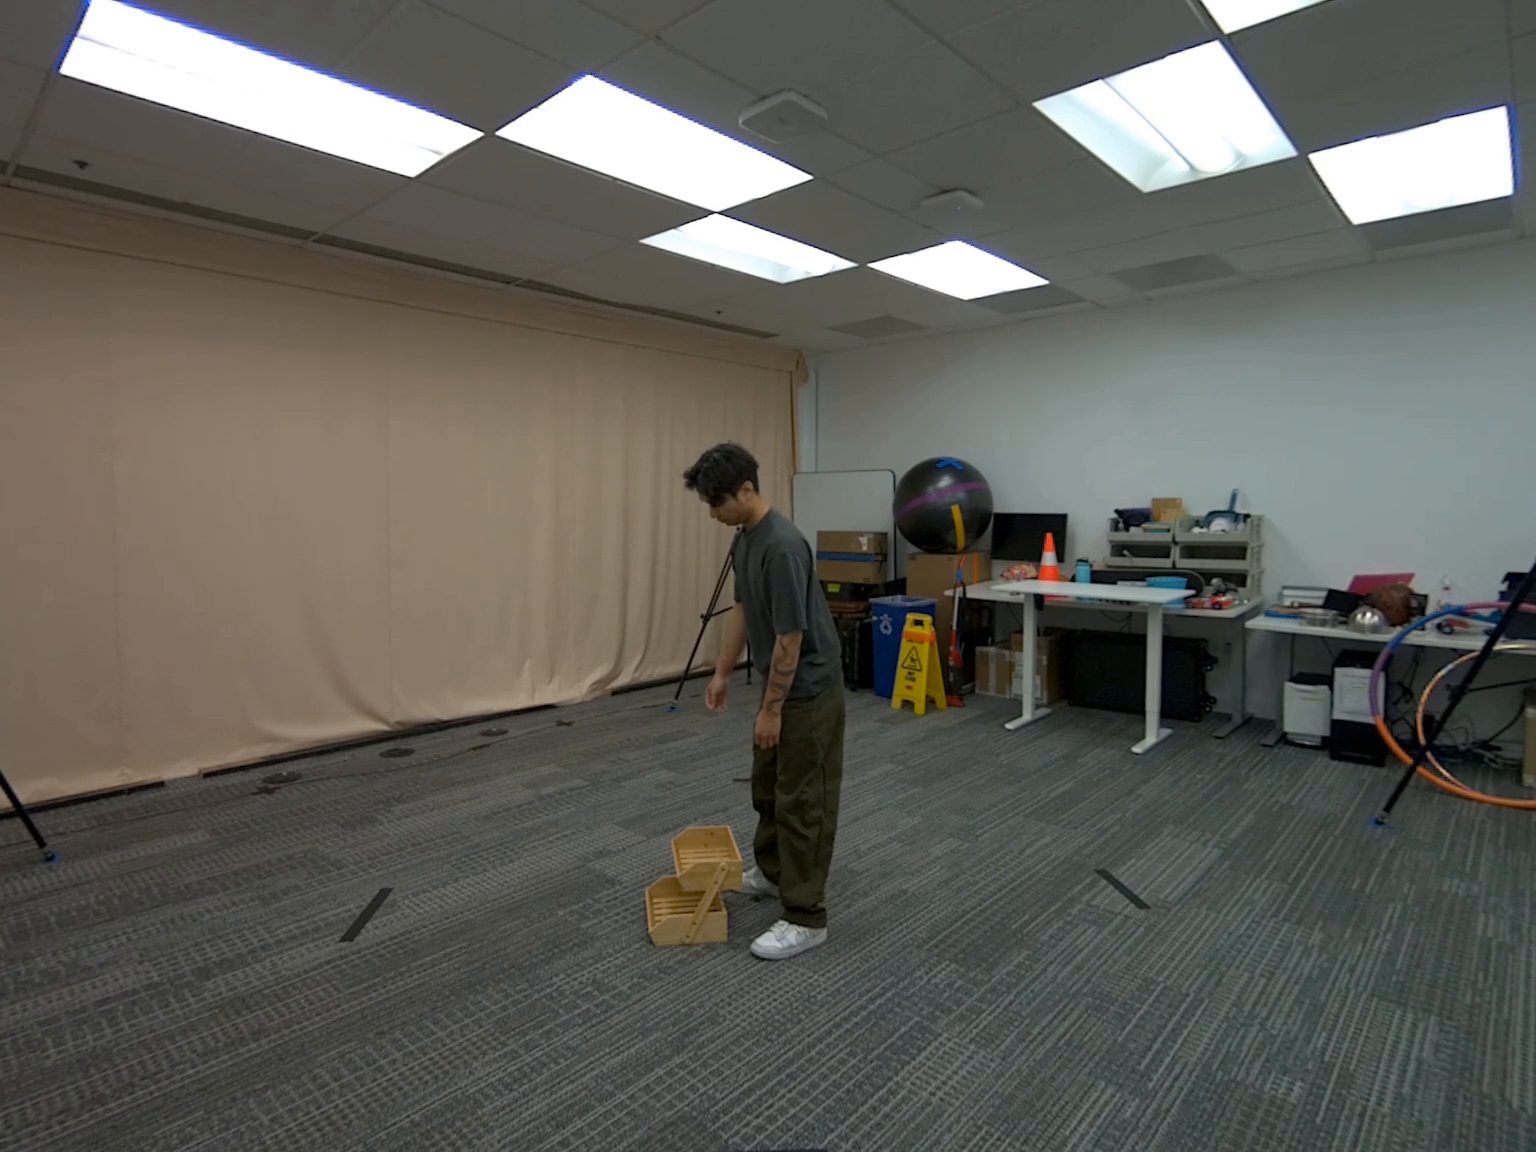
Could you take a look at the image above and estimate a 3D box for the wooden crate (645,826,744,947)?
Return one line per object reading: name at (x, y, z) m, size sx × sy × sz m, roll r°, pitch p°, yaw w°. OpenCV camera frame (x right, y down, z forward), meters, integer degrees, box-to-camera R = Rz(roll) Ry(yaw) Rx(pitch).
wooden crate at (-0.261, 1.029, 2.820) m, size 0.299 × 0.273 × 0.328 m, roll -1°, pitch 4°, yaw -10°
